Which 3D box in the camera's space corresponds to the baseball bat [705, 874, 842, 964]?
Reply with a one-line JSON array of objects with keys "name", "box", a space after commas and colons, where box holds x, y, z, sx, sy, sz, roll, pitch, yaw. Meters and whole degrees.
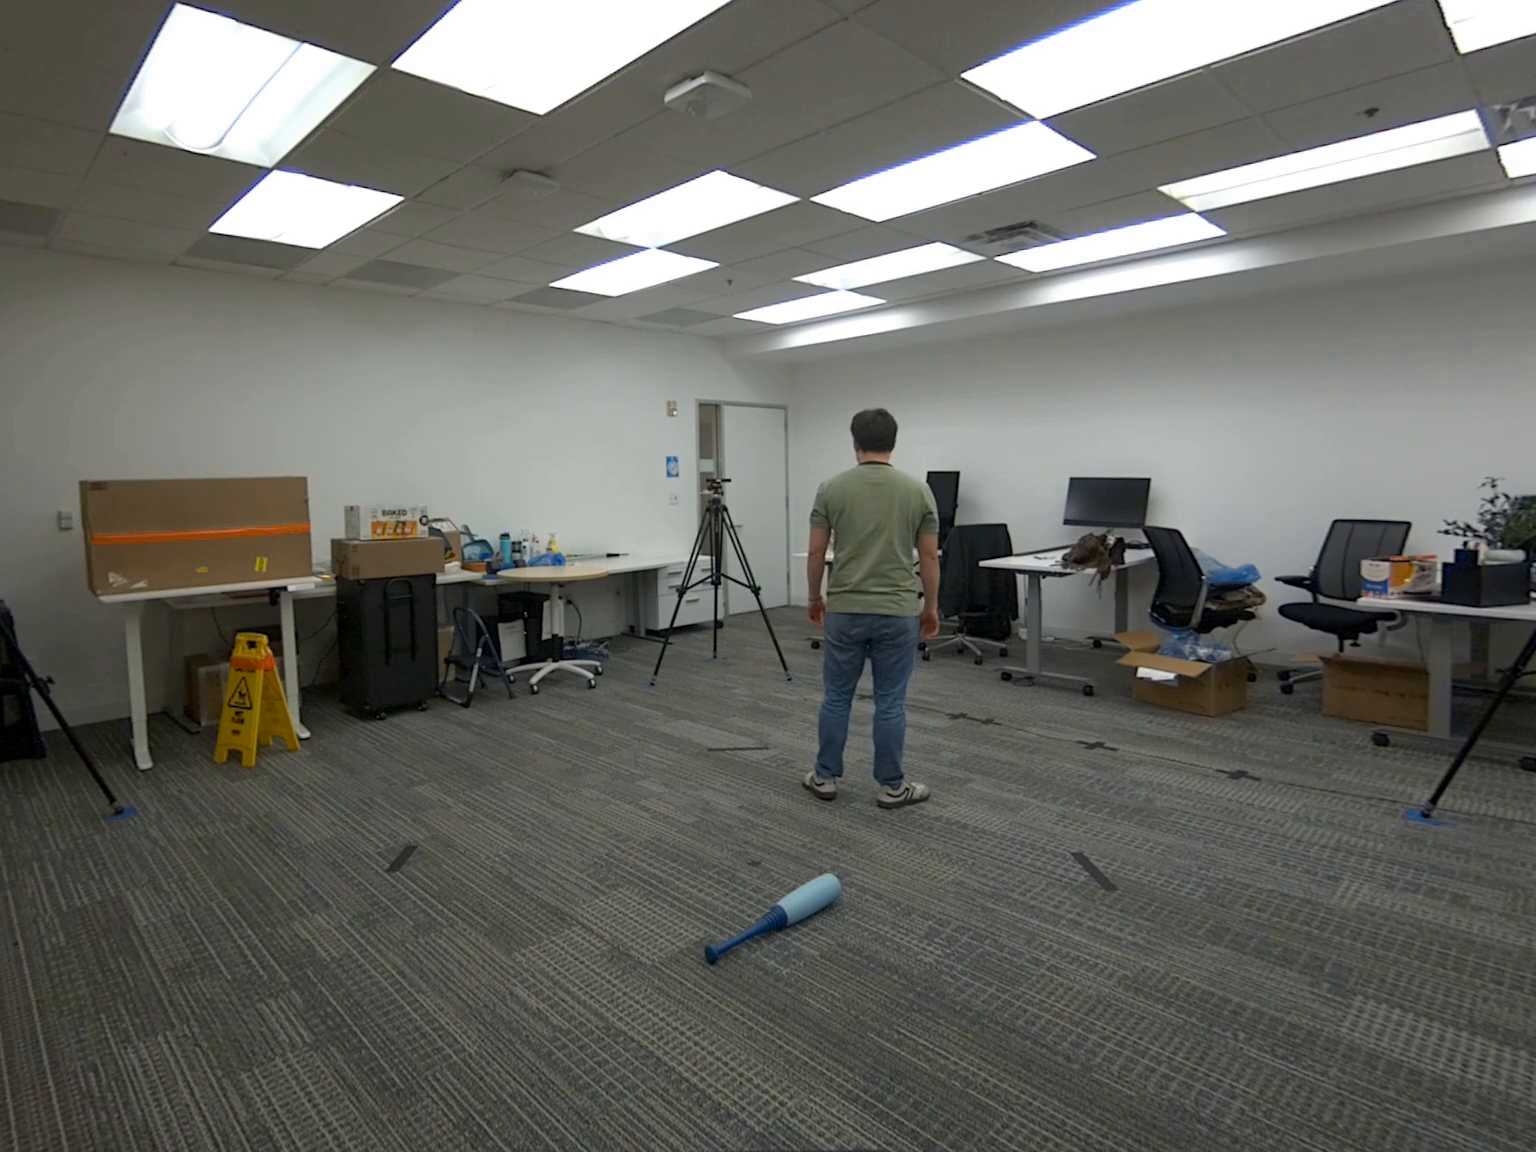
[{"name": "baseball bat", "box": [0.030, 1.064, 2.640, 0.531, 0.088, 0.092, -13, 12, -42]}]
